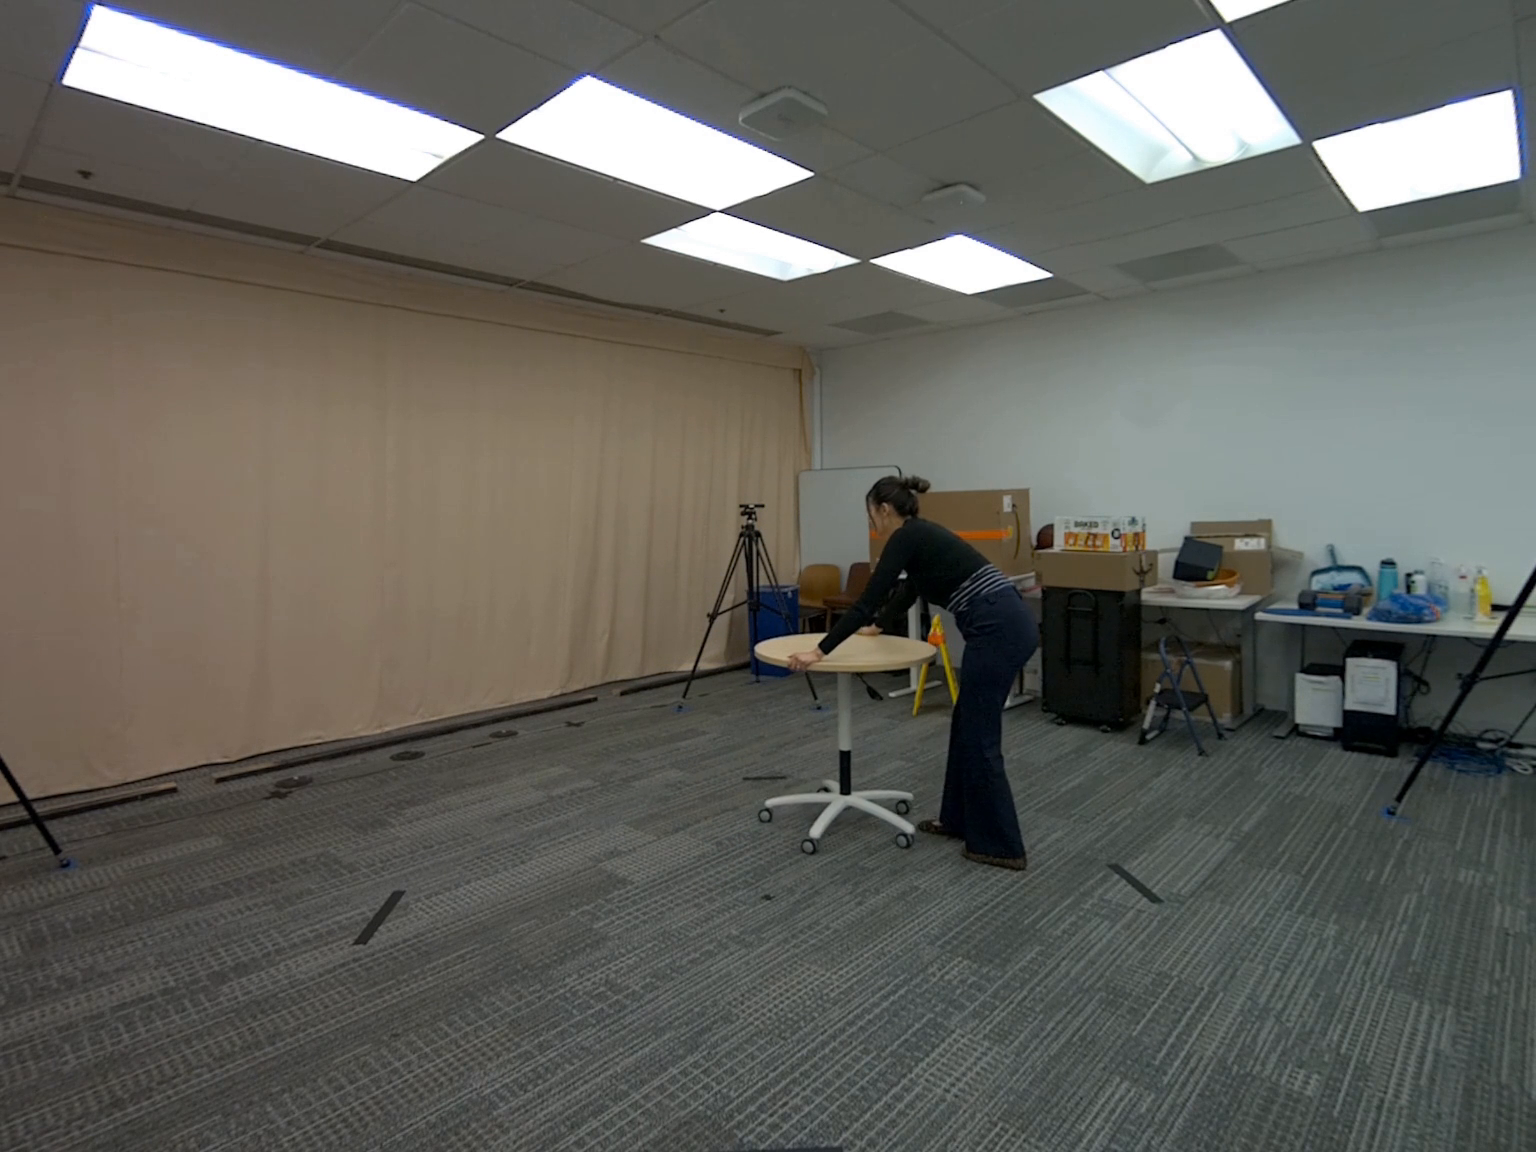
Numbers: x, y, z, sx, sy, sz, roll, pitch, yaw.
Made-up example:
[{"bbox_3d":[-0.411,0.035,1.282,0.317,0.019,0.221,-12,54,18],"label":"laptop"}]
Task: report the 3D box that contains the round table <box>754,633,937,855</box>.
[{"bbox_3d":[0.320,0.697,3.616,0.763,0.792,0.767,-1,4,-2],"label":"round table"}]
